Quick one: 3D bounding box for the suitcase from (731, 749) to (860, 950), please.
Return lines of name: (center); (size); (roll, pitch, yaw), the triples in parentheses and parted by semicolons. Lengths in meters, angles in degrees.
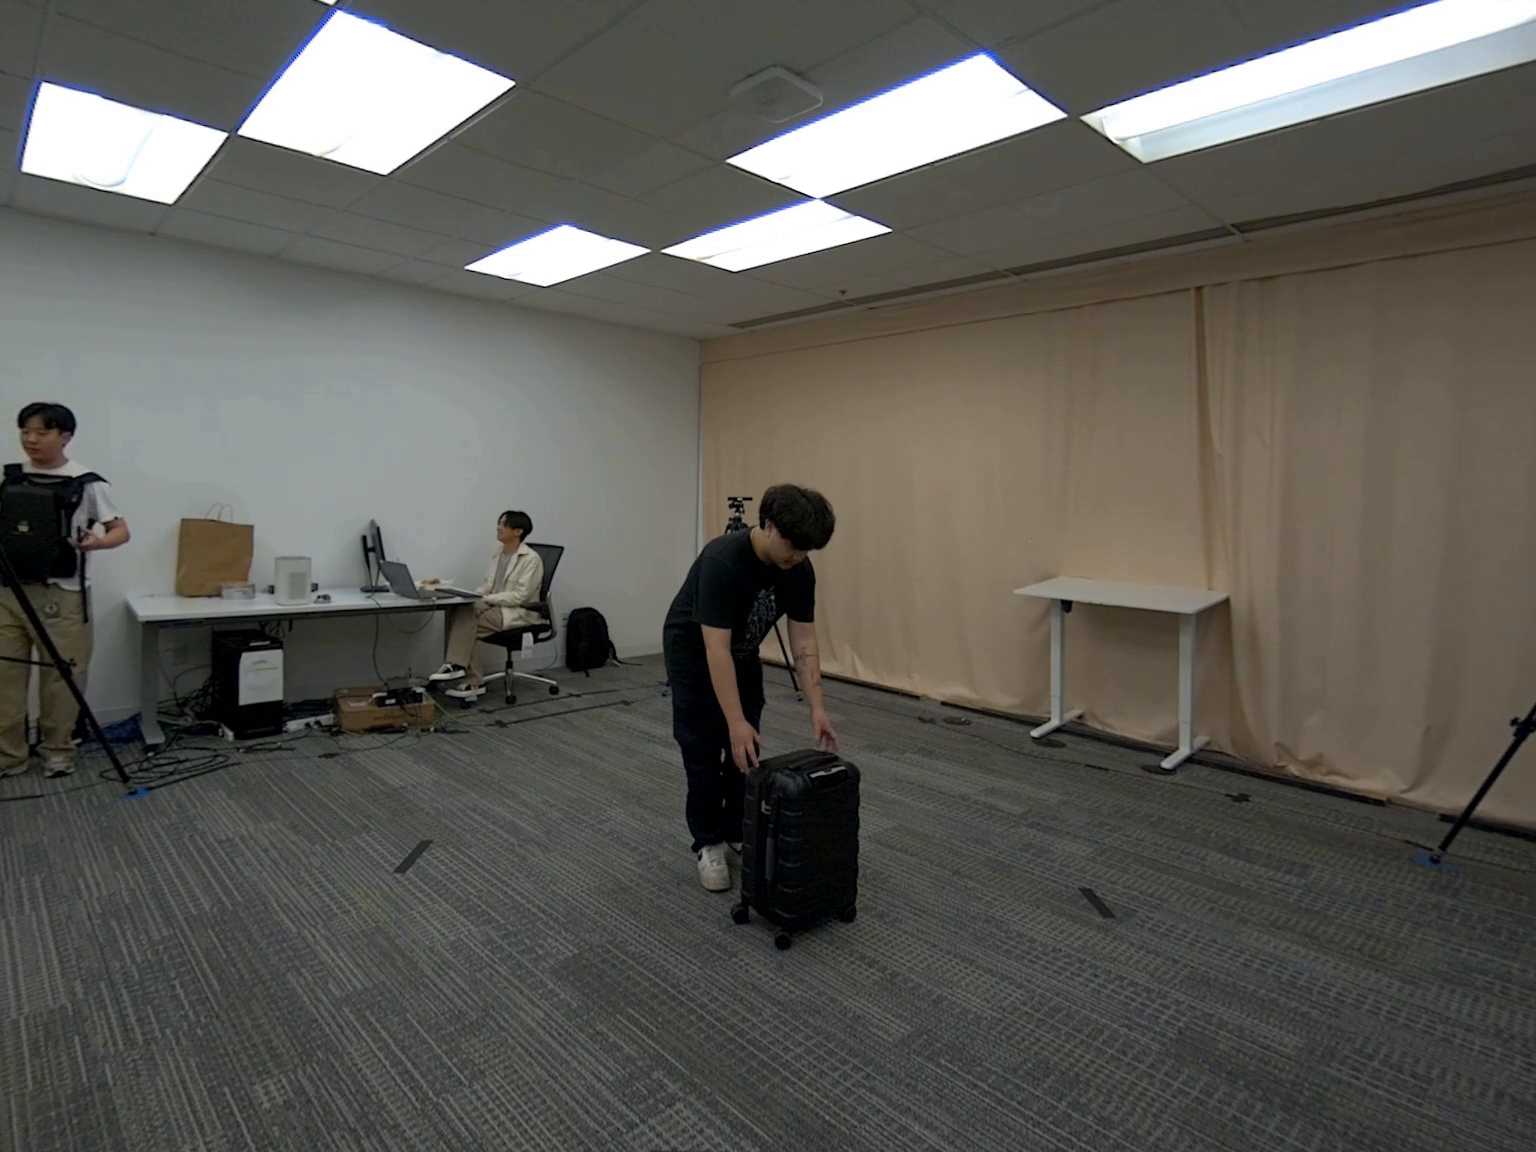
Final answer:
suitcase: (0.103, 0.866, 2.773); (0.367, 0.548, 0.254); (-1, 4, -41)
